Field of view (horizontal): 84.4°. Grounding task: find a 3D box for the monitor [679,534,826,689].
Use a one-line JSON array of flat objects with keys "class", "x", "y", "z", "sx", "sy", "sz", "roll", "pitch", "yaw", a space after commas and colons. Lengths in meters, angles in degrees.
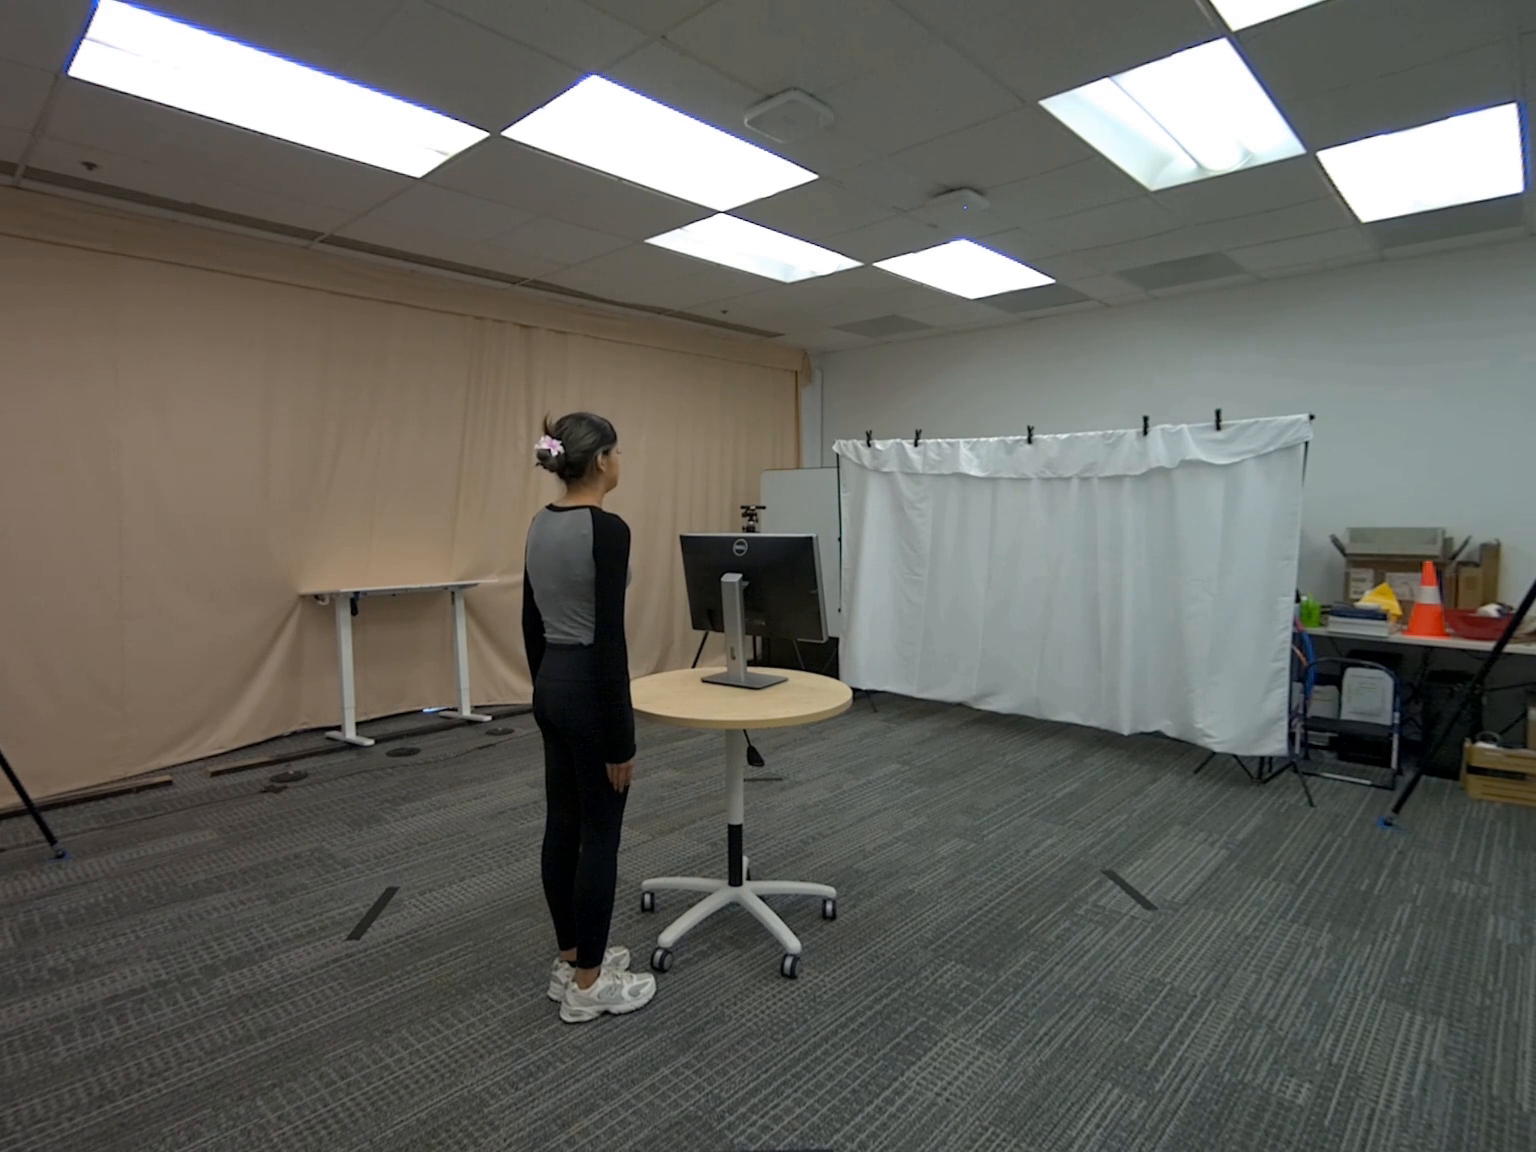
[{"class": "monitor", "x": -0.077, "y": 0.119, "z": 2.876, "sx": 0.556, "sy": 0.522, "sz": 0.181, "roll": 2, "pitch": 0, "yaw": 34}]
